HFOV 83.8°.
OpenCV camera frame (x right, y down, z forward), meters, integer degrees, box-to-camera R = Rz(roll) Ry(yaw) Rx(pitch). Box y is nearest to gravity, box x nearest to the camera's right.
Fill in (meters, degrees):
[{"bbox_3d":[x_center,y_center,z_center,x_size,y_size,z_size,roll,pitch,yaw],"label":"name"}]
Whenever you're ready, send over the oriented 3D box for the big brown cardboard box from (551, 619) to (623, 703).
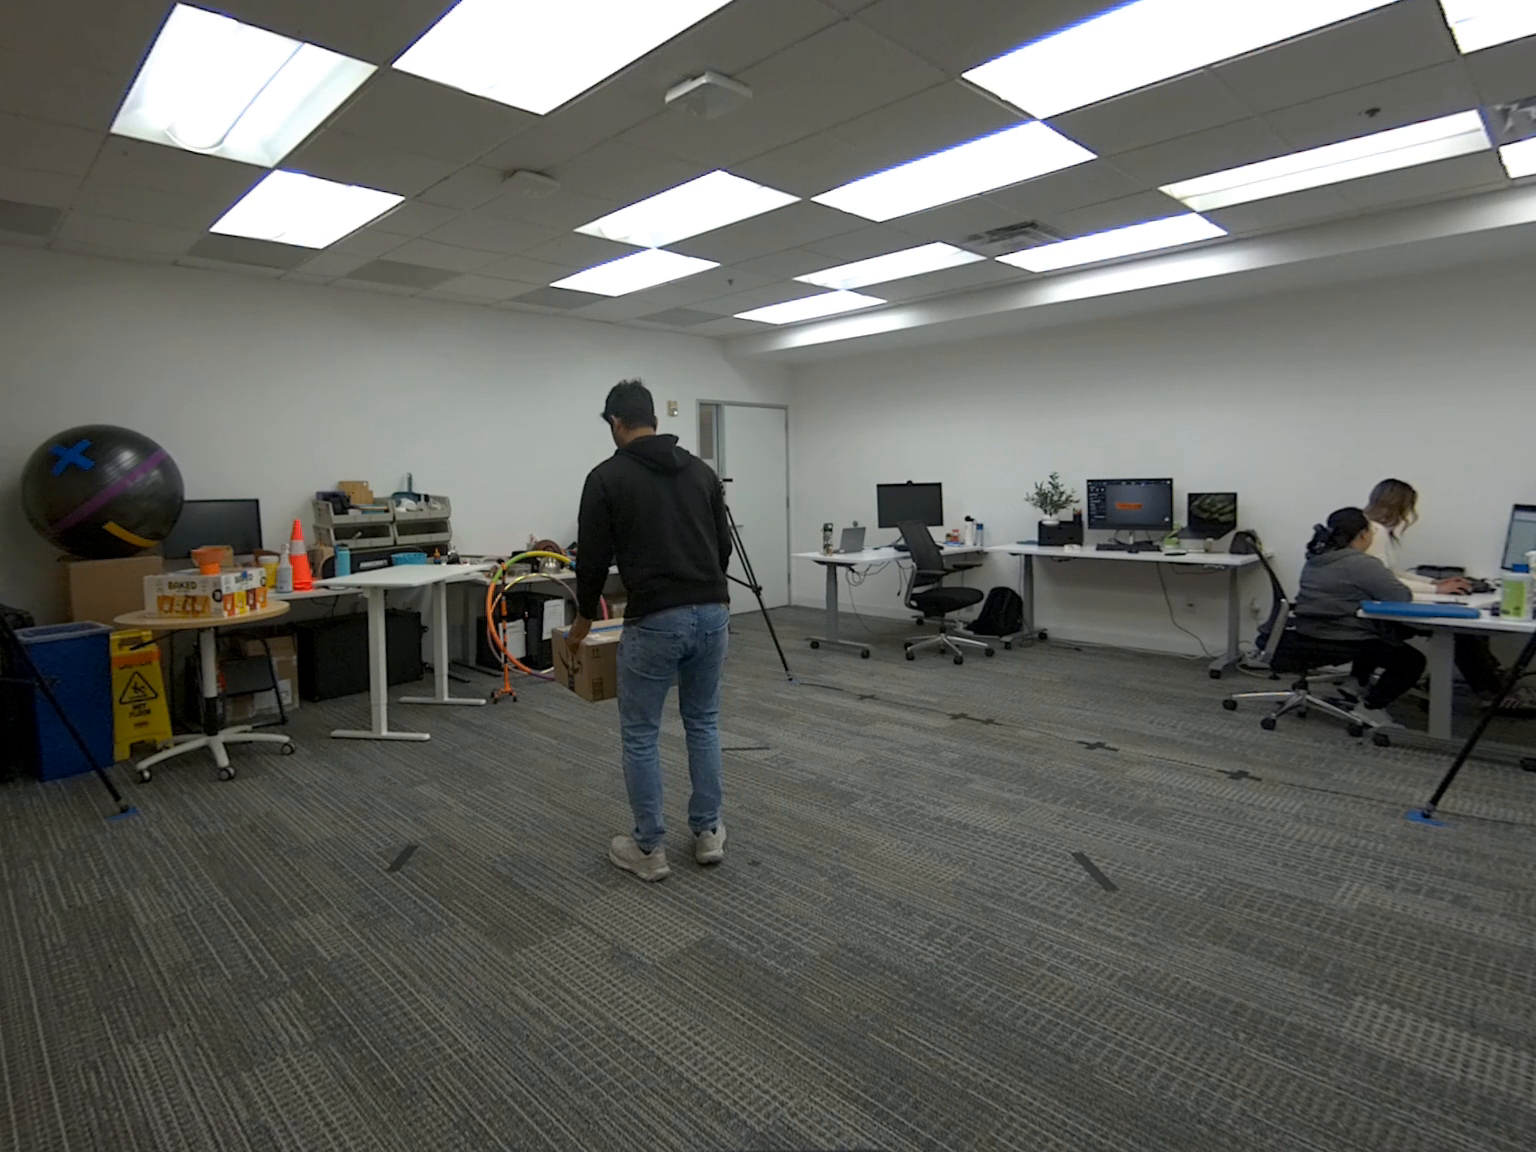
[{"bbox_3d":[-0.531,0.316,3.410,0.575,0.232,0.430,-6,8,-31],"label":"big brown cardboard box"}]
